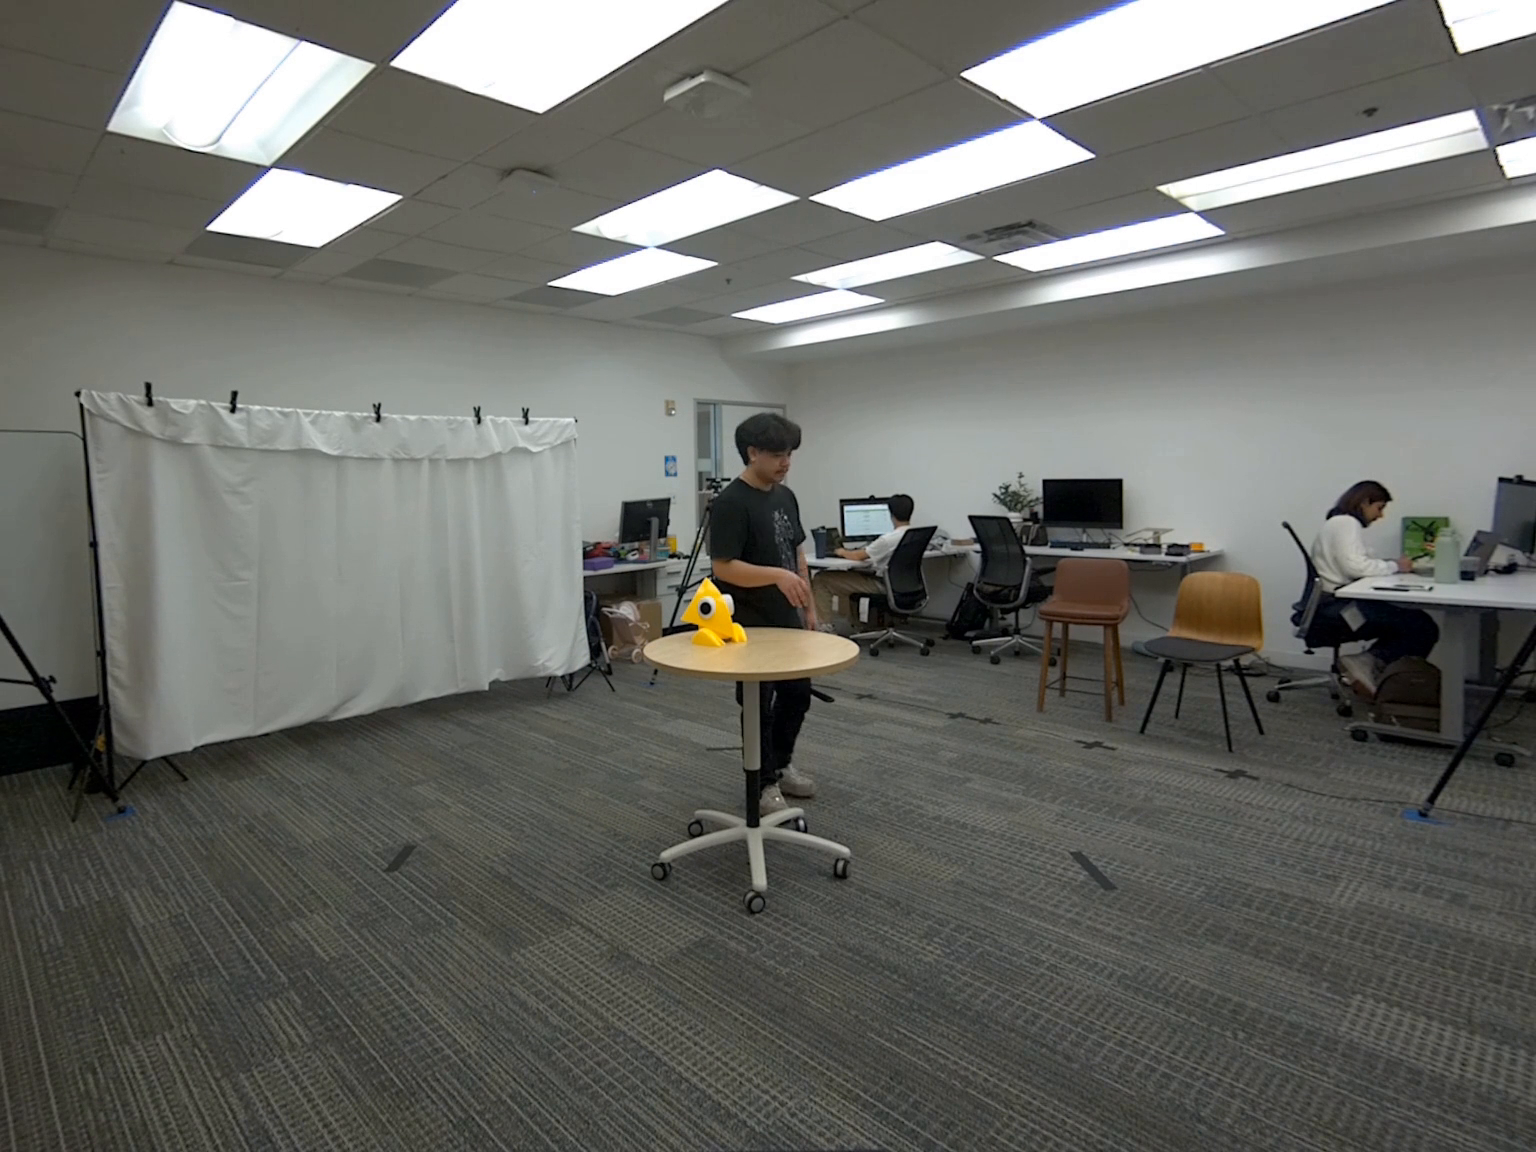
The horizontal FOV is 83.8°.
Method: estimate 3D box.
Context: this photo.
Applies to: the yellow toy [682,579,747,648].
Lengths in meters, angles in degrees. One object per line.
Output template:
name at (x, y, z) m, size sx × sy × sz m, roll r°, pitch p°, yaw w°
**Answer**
yellow toy at (-0.189, 0.127, 3.171) m, size 0.199 × 0.230 × 0.199 m, roll -5°, pitch 7°, yaw -42°
